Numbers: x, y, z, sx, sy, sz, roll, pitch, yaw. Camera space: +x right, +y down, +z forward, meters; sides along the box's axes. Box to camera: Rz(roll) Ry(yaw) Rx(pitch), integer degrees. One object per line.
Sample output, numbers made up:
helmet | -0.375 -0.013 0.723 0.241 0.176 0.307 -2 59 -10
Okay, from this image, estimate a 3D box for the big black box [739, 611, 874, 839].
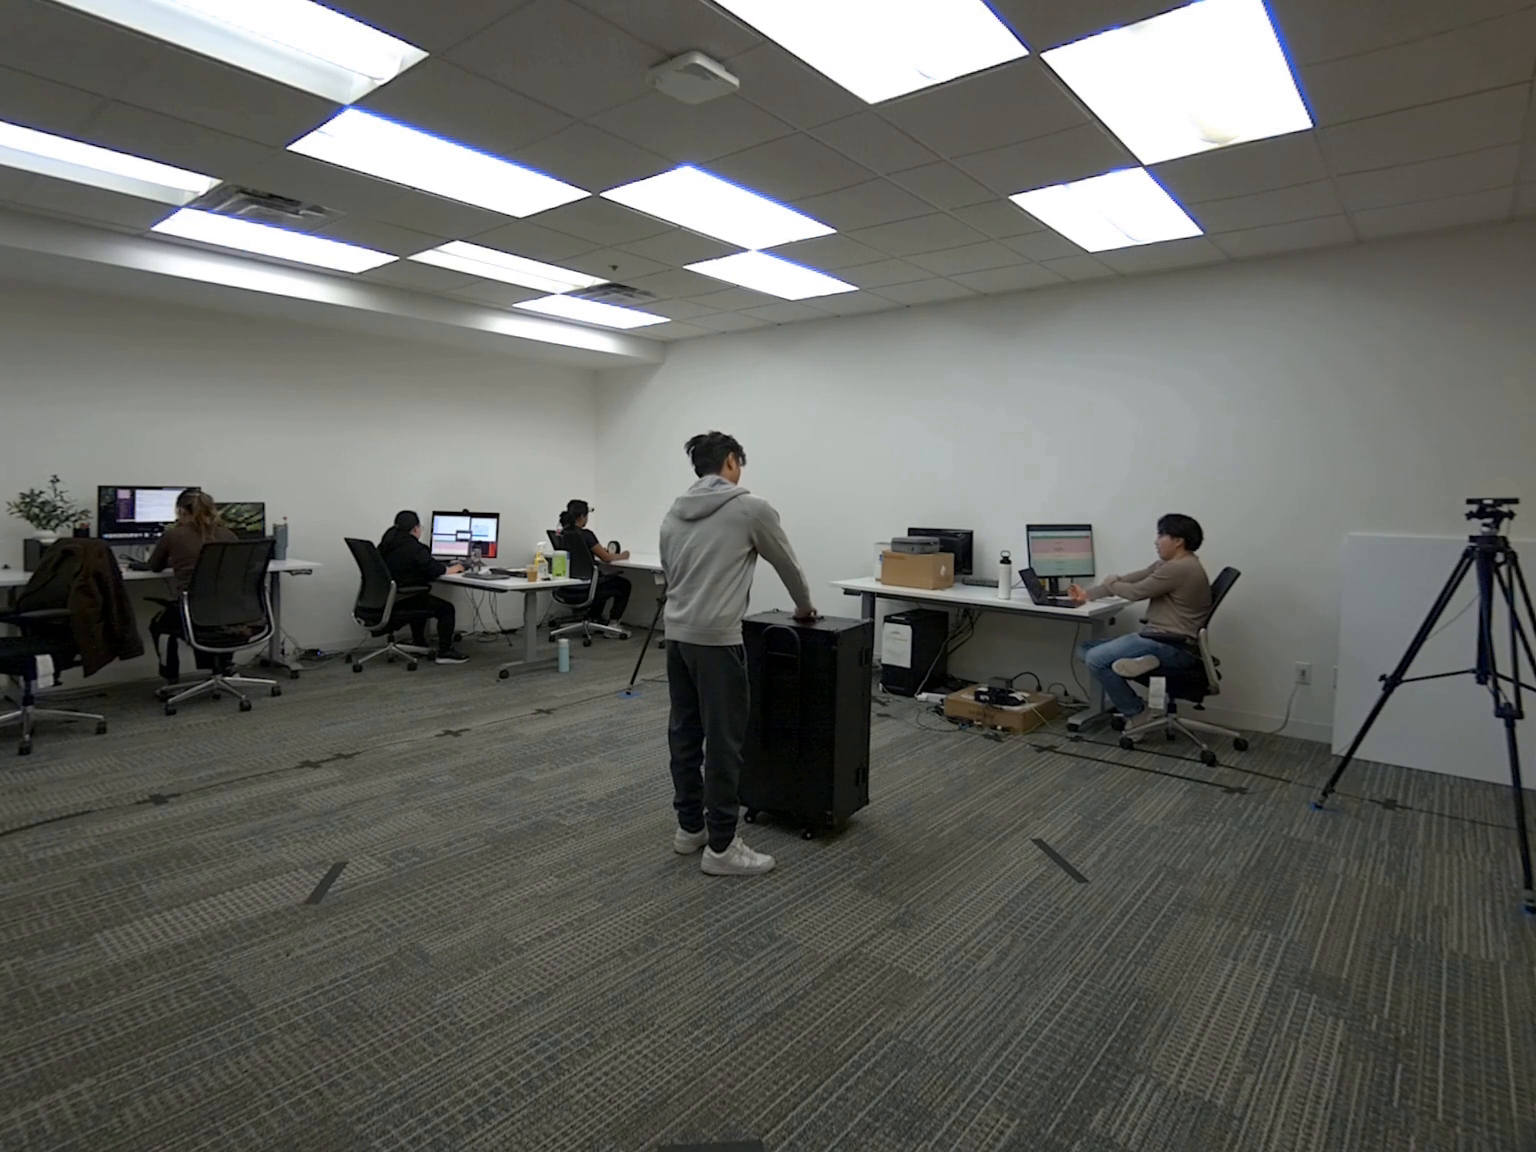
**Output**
big black box | 0.128 0.547 3.563 0.537 0.859 0.386 4 4 32
